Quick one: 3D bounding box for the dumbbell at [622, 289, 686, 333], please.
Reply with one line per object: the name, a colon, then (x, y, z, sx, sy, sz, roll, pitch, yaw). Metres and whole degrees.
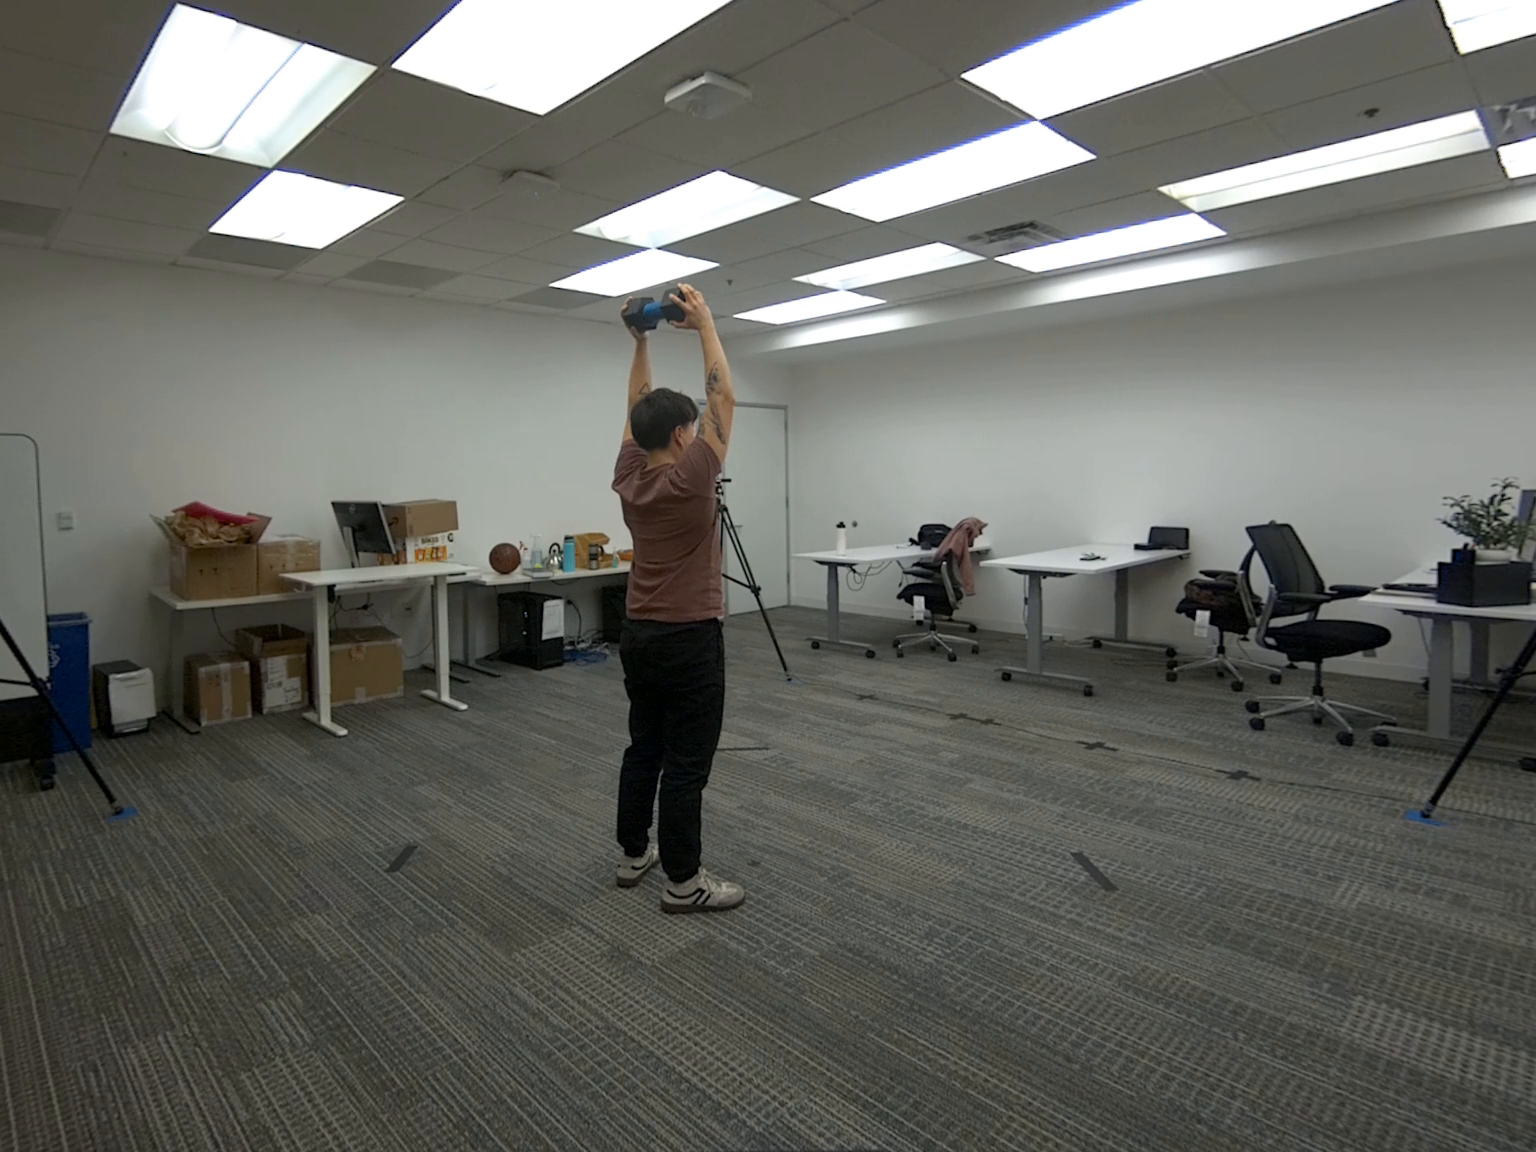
dumbbell: (-0.353, -0.877, 2.834, 0.303, 0.119, 0.109, 8, 49, 48)
